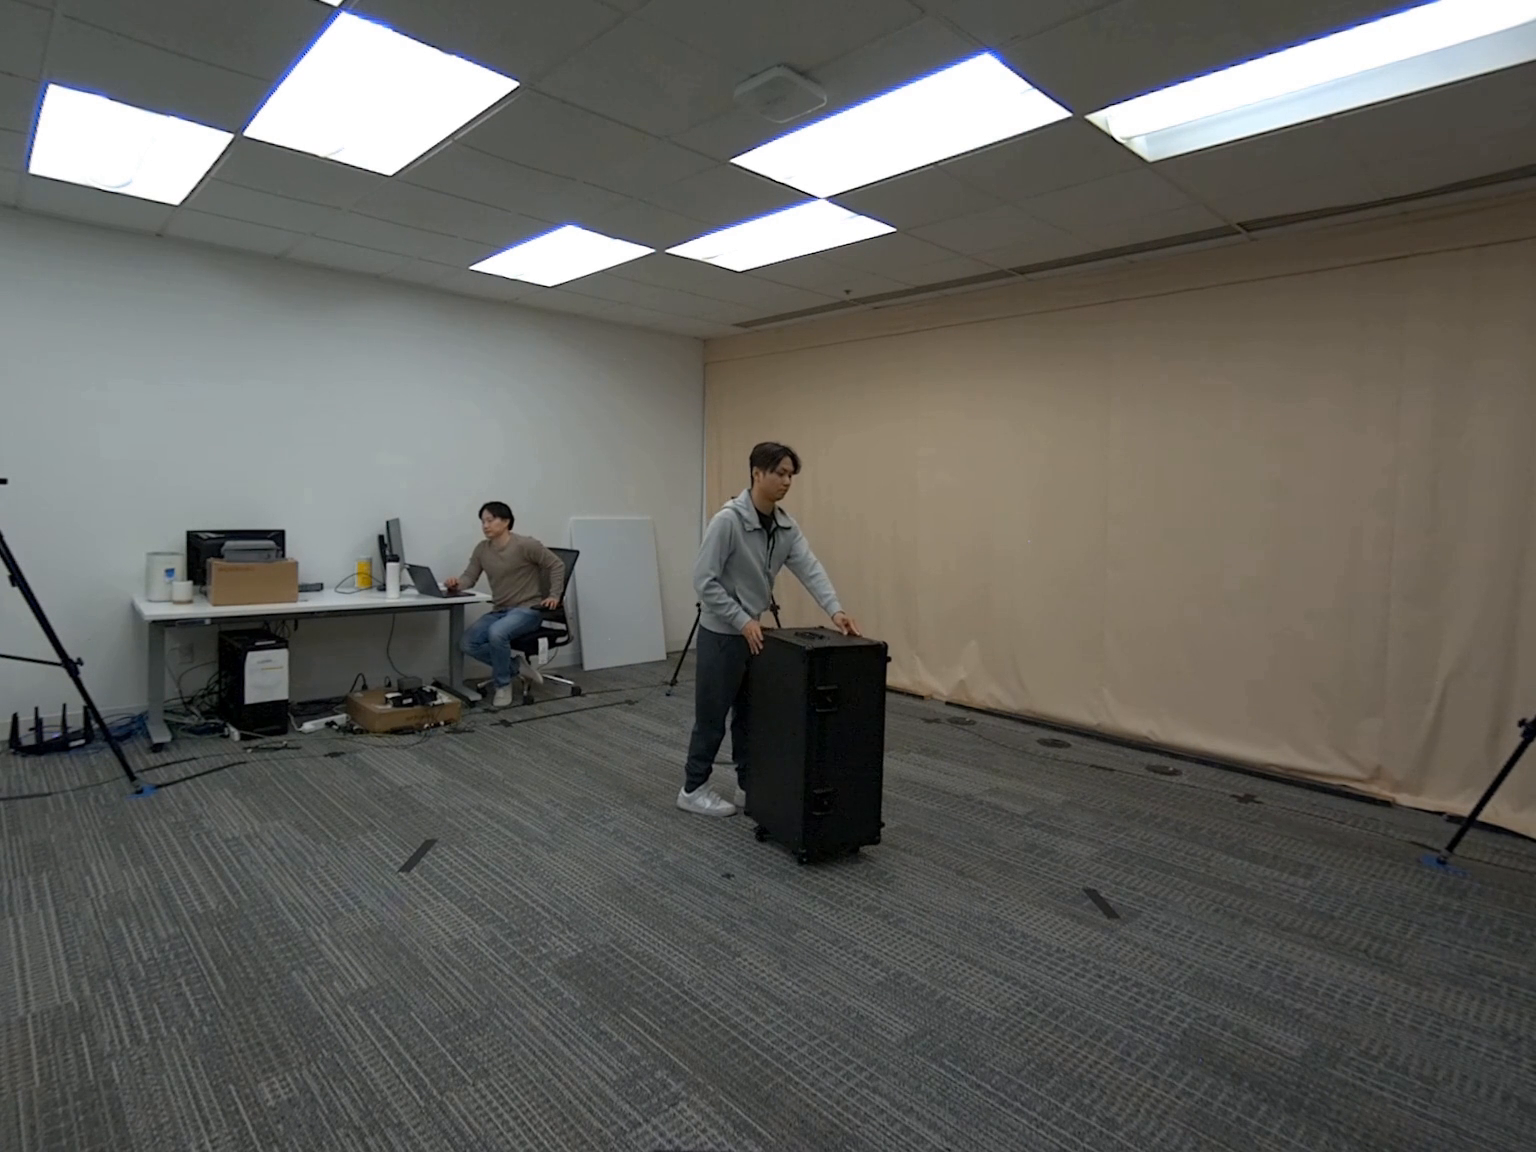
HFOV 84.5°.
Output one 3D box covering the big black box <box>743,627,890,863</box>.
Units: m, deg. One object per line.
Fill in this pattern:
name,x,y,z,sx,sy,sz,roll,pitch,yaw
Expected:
big black box,0.183,0.668,3.388,0.388,0.860,0.532,2,2,-27
